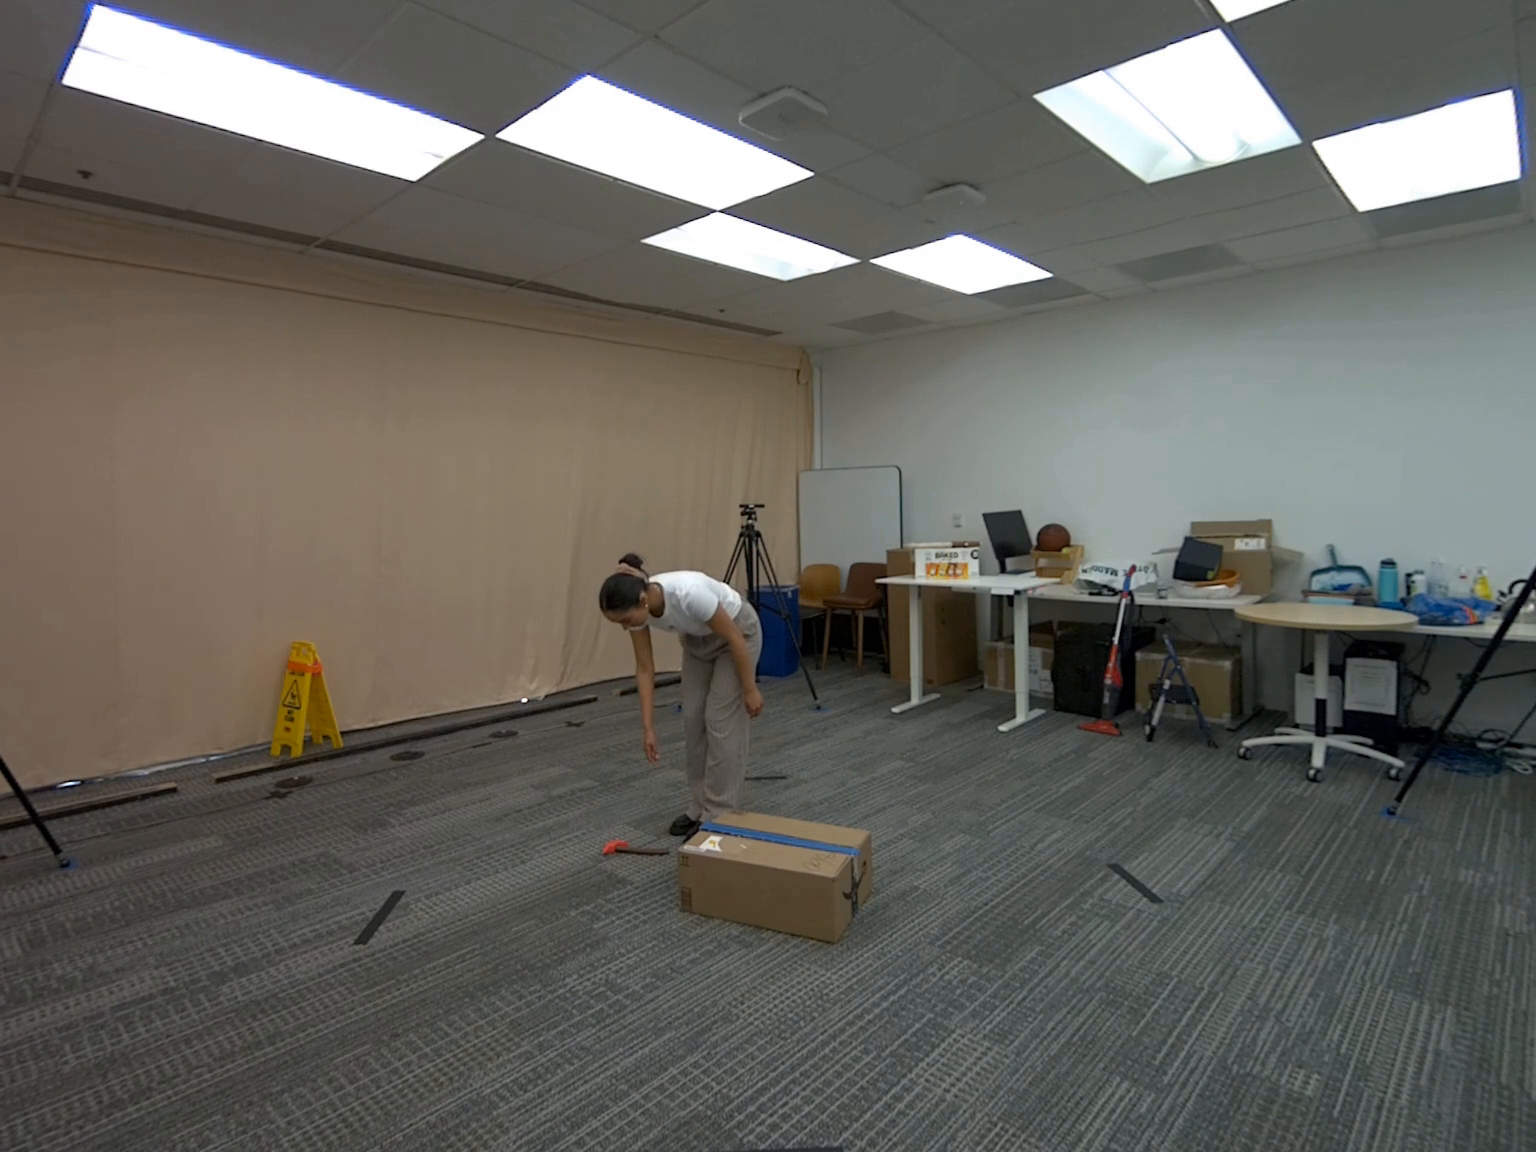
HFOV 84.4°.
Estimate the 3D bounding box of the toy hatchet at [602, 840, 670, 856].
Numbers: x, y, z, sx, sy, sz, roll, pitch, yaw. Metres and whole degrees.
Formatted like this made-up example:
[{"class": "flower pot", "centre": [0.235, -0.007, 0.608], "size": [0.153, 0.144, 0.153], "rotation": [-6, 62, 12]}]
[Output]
[{"class": "toy hatchet", "centre": [-0.533, 1.103, 3.426], "size": [0.270, 0.029, 0.131], "rotation": [1, 1, 0]}]
